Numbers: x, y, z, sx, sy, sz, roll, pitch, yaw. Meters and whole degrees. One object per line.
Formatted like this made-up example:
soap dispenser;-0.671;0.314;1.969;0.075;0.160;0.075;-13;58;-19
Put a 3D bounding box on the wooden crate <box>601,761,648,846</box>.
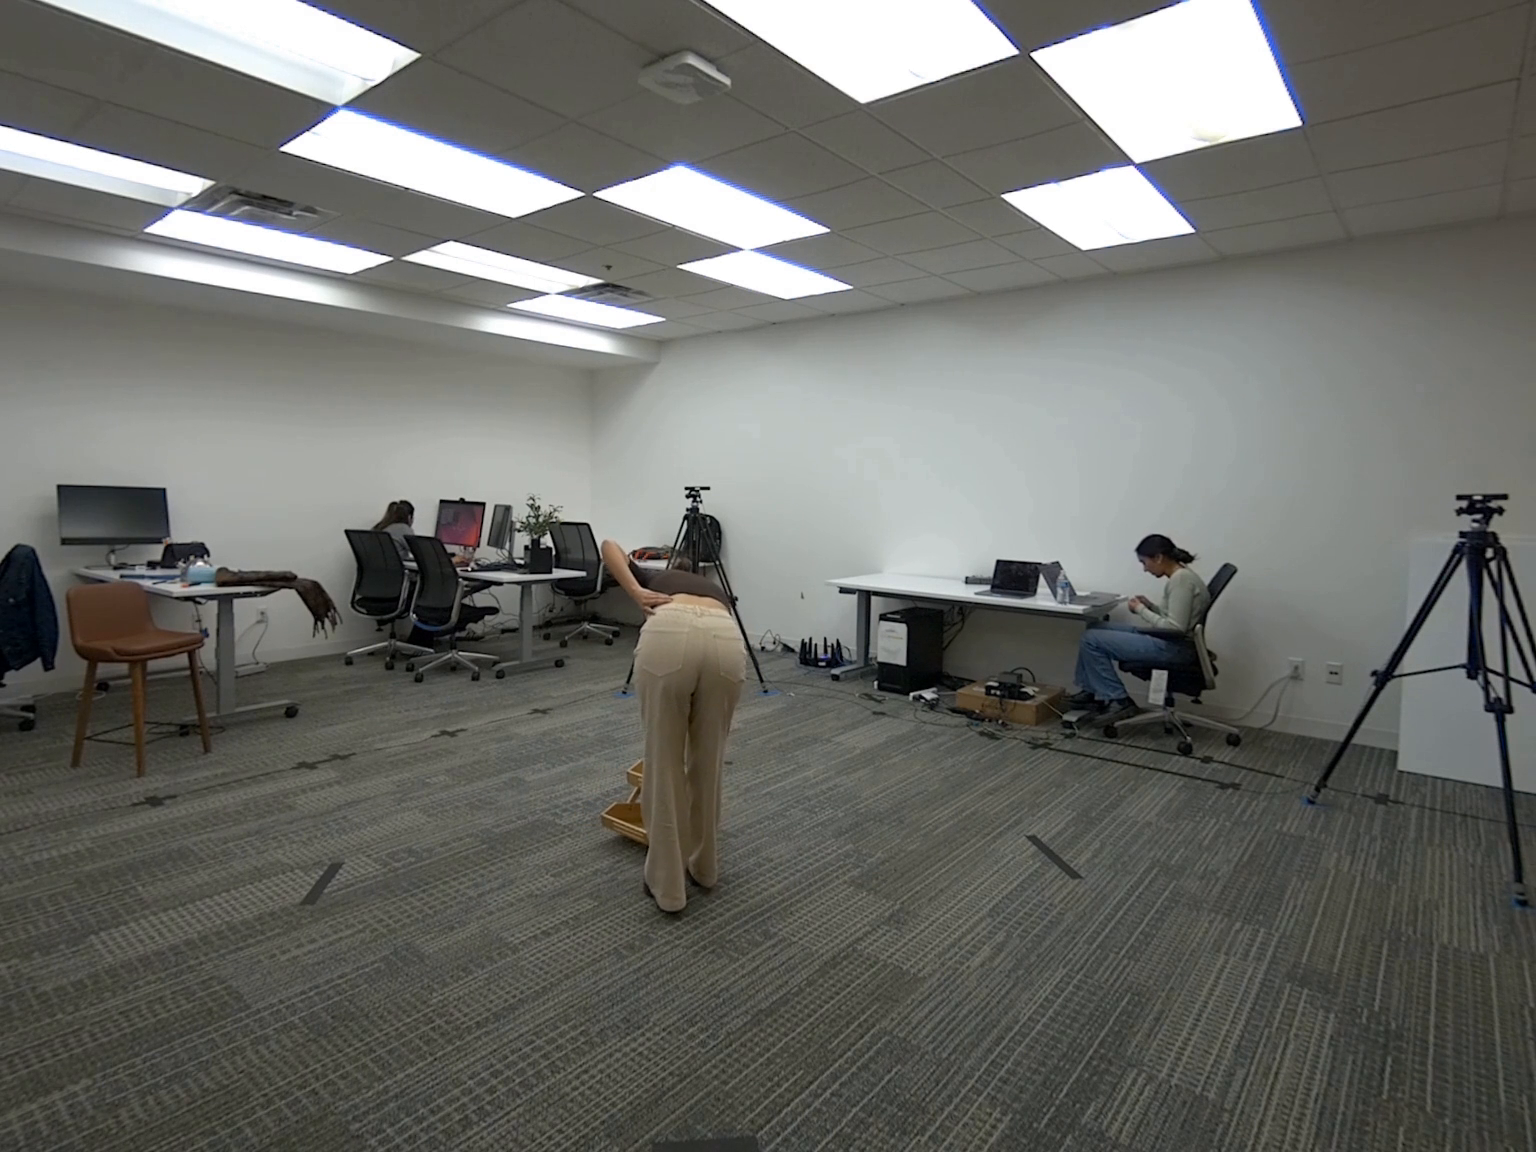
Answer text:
wooden crate;-0.439;0.878;3.347;0.335;0.275;0.290;5;-10;41
